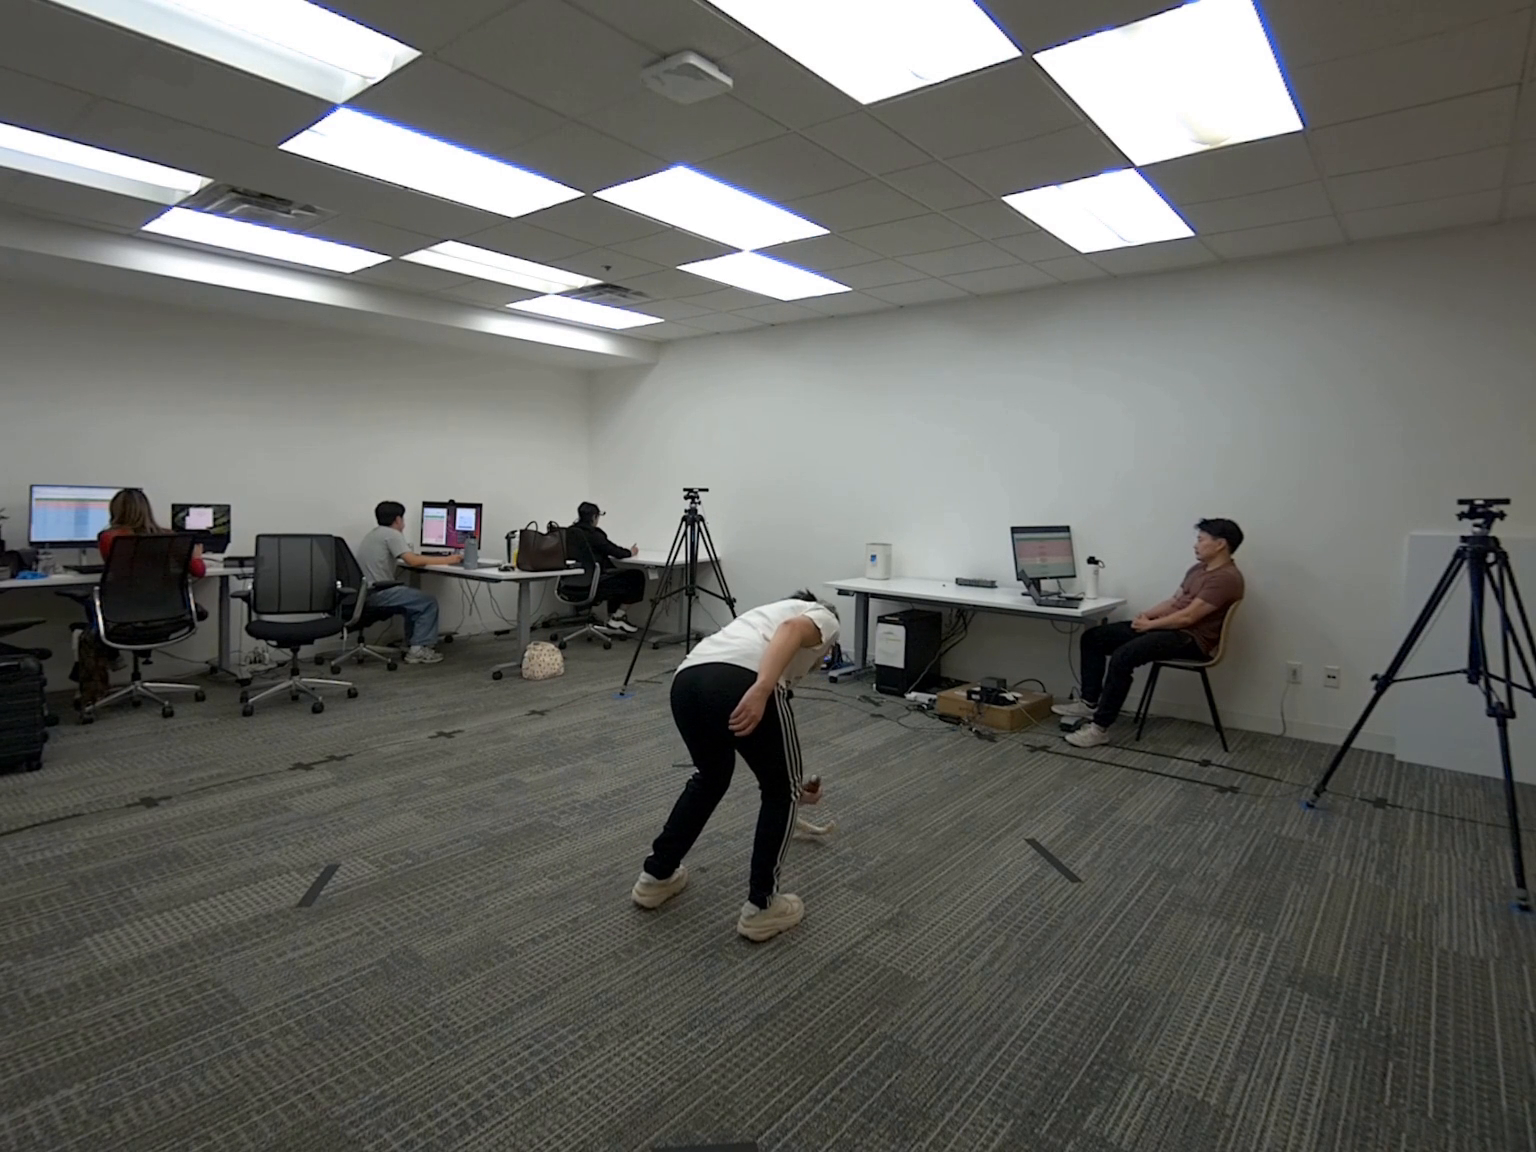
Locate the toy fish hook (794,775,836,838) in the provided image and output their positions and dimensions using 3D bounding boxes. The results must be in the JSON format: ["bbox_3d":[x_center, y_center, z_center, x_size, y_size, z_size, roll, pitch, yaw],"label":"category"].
[{"bbox_3d":[0.173,0.865,3.224,0.226,0.049,0.497,20,-35,2],"label":"toy fish hook"}]
